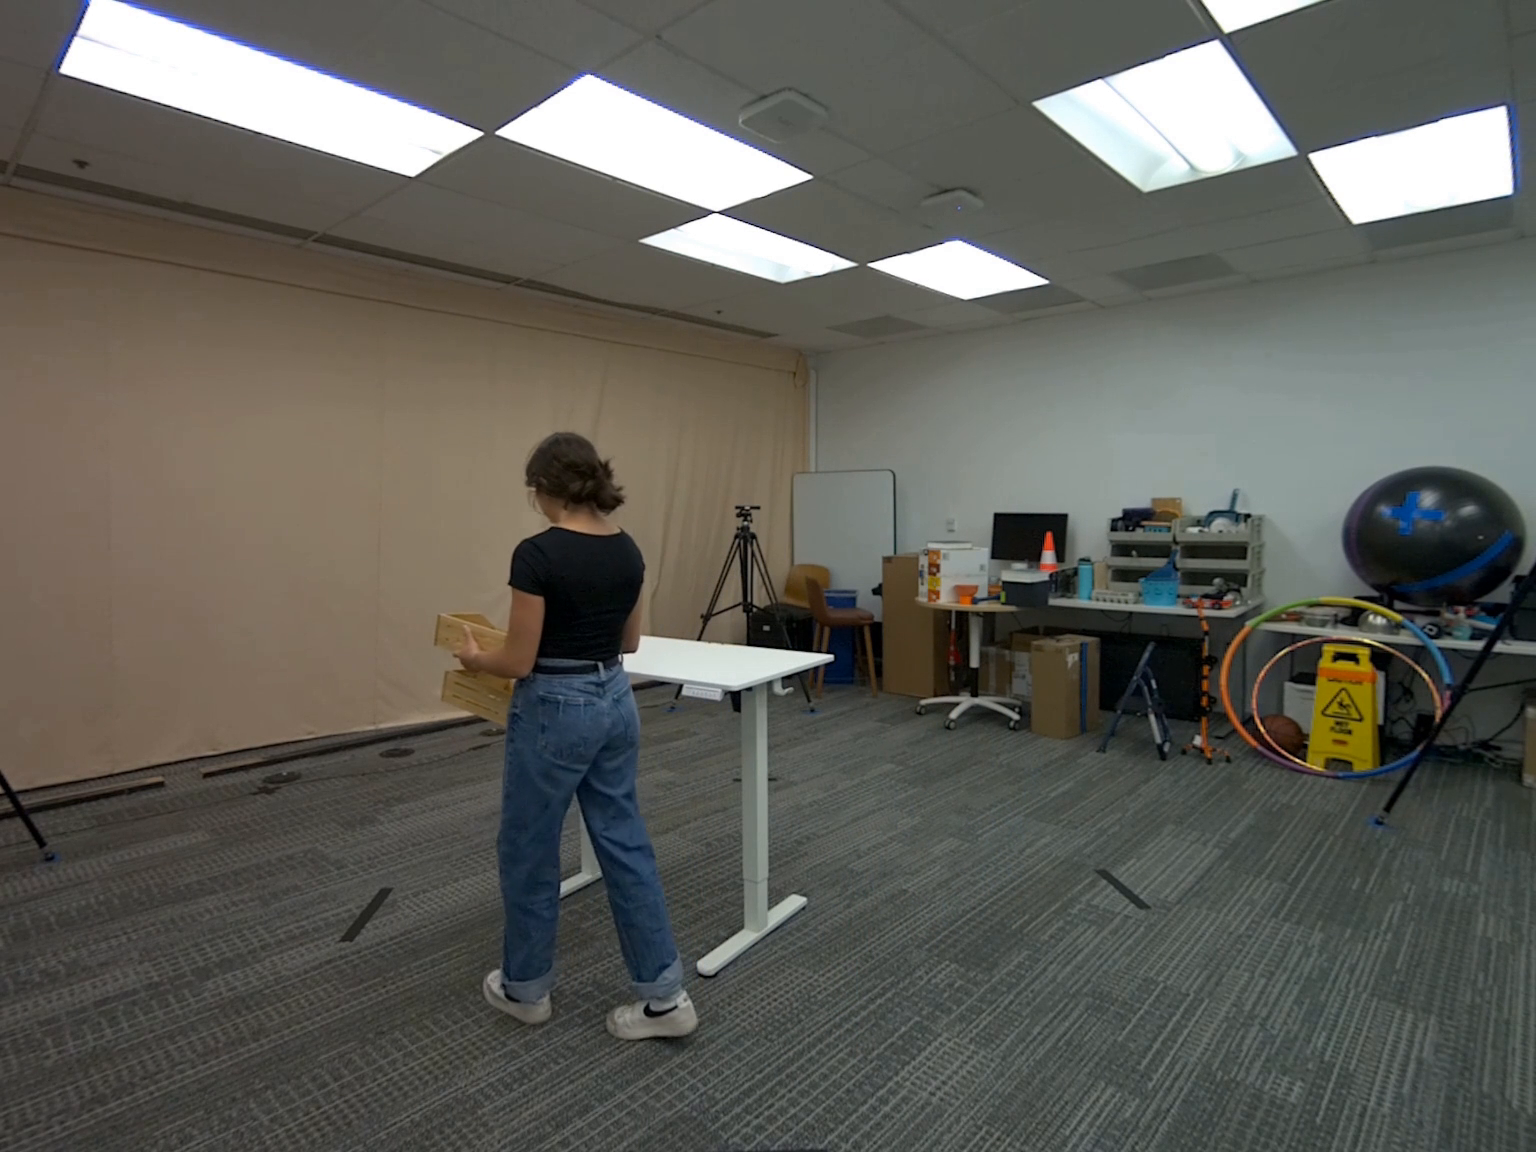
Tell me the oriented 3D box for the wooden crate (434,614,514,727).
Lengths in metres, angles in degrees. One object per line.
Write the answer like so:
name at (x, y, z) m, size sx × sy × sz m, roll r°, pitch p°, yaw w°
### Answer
wooden crate at (-0.760, 0.259, 2.451) m, size 0.335 × 0.273 × 0.293 m, roll 10°, pitch 5°, yaw 33°
